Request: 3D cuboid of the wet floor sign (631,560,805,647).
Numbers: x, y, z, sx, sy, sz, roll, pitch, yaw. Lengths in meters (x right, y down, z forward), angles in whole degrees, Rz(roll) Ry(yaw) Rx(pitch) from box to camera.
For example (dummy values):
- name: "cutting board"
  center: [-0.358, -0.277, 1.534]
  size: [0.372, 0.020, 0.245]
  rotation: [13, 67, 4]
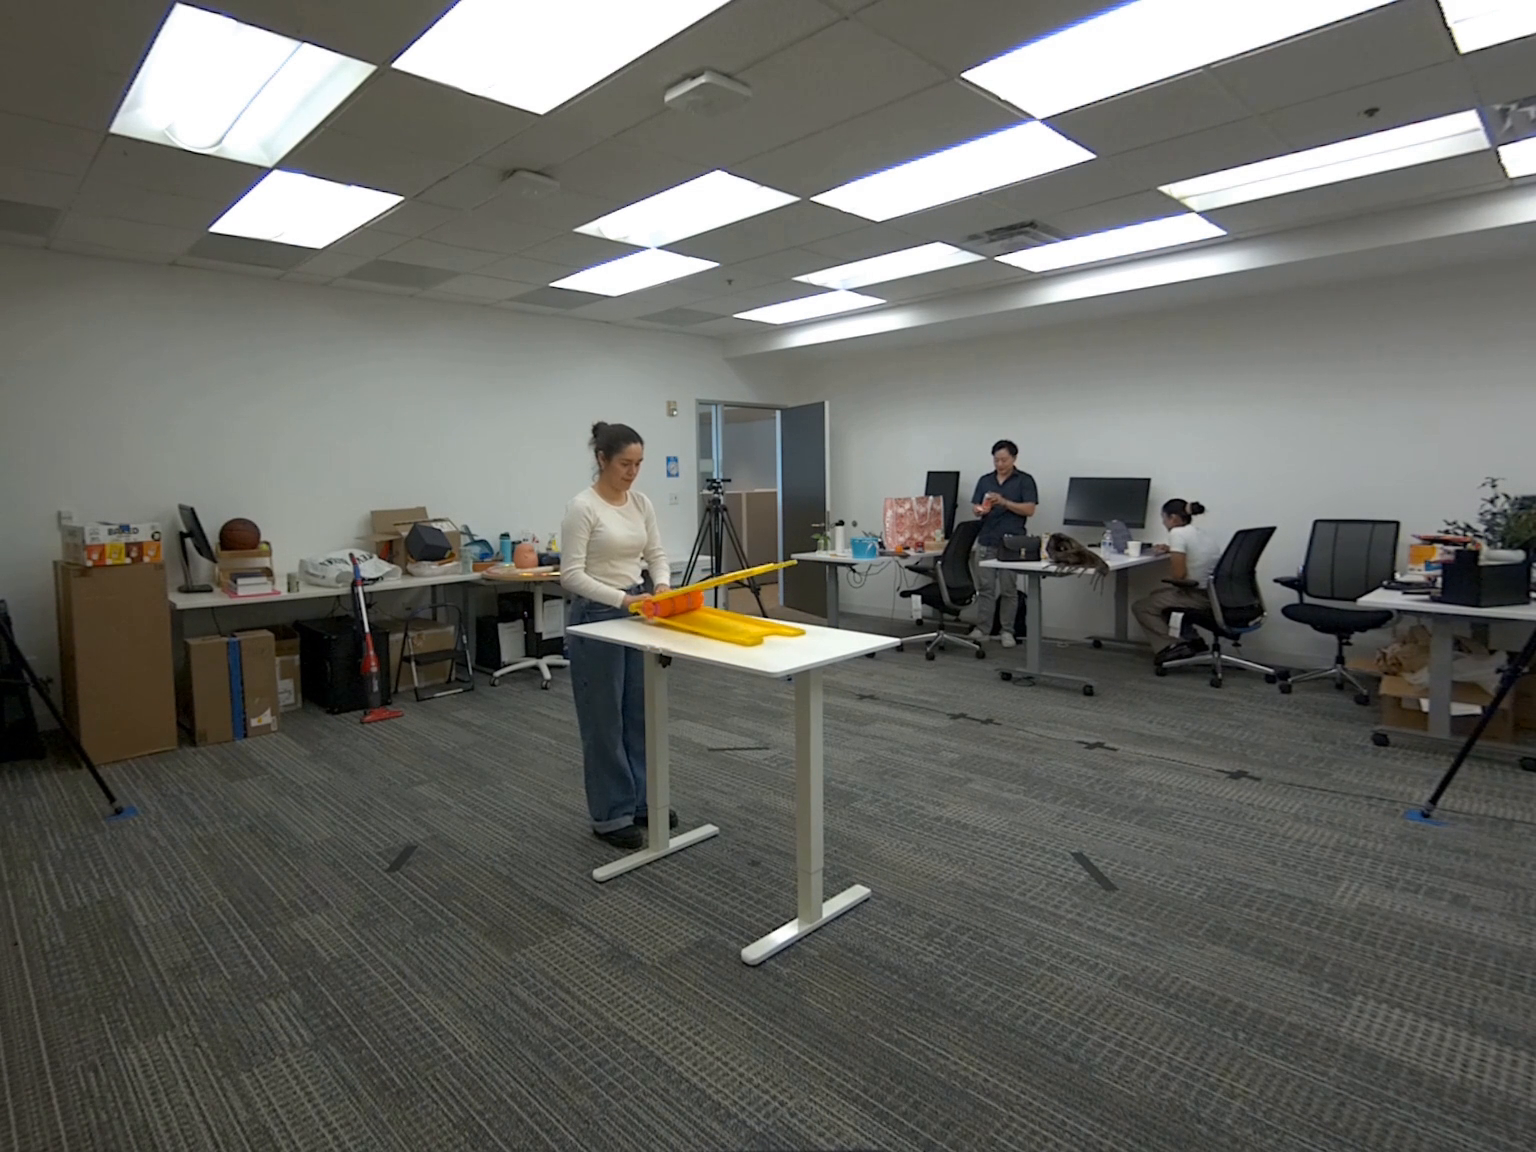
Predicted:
- name: "wet floor sign"
  center: [-0.208, 0.099, 2.966]
  size: [0.275, 0.289, 0.664]
  rotation: [-11, 7, -44]
